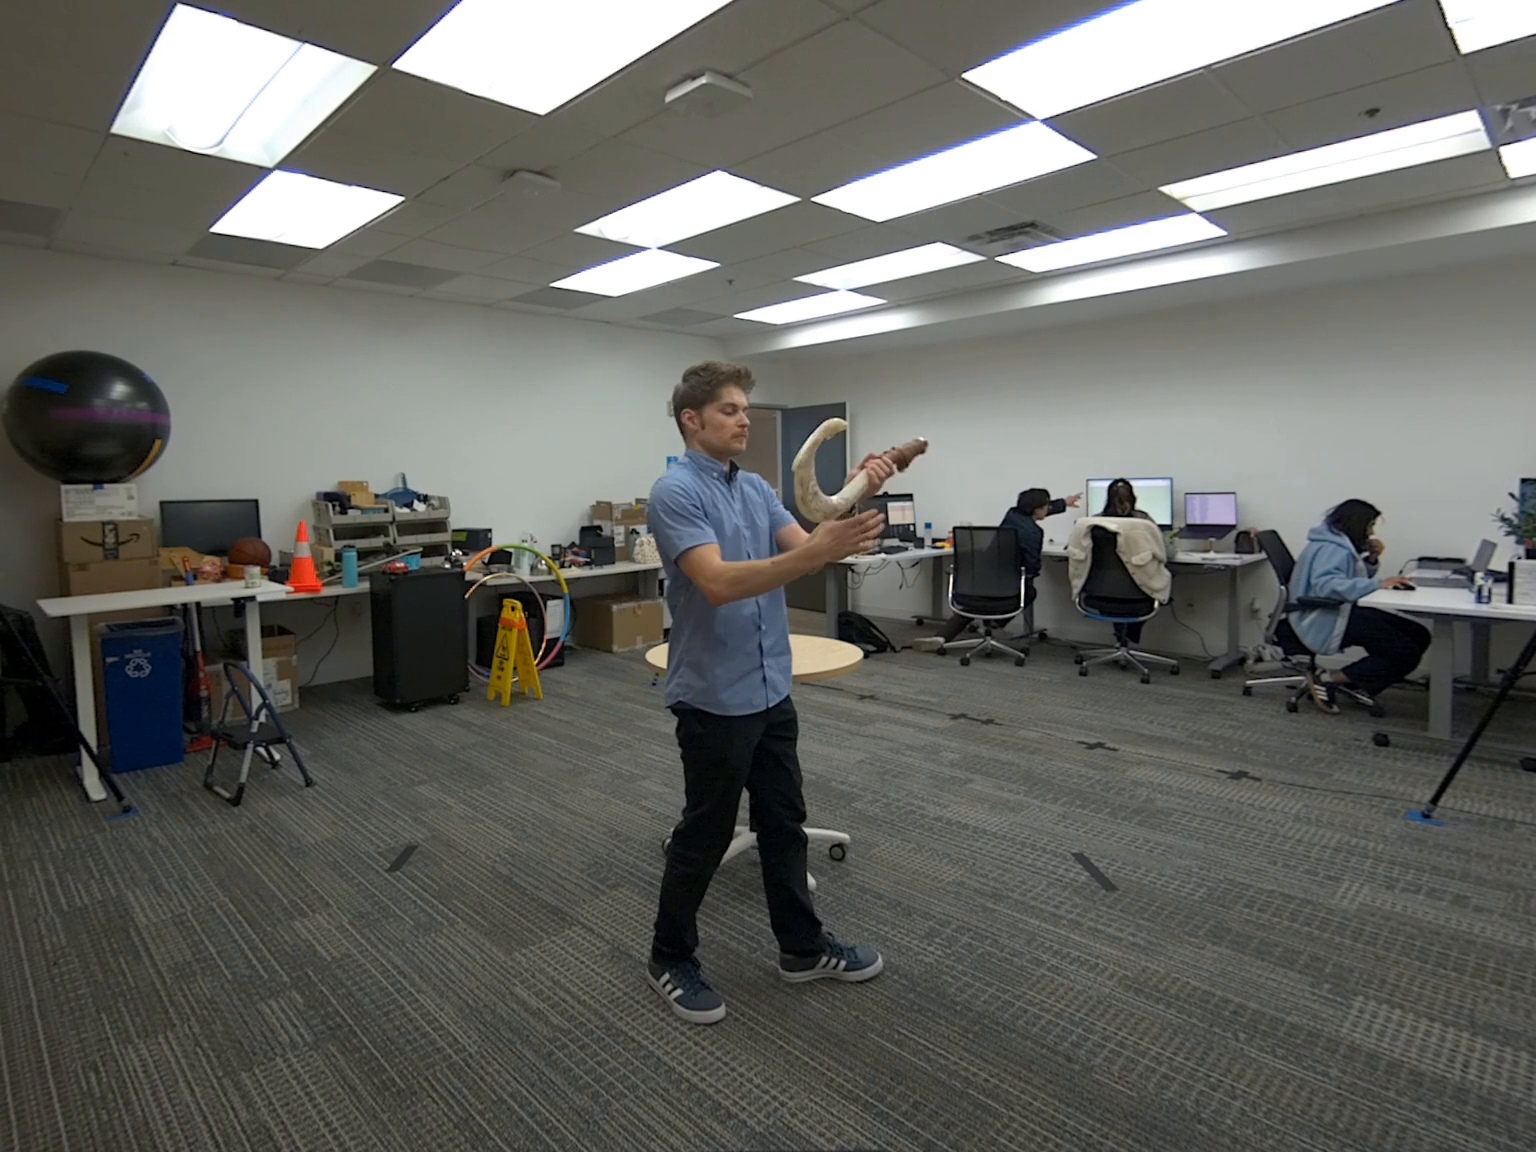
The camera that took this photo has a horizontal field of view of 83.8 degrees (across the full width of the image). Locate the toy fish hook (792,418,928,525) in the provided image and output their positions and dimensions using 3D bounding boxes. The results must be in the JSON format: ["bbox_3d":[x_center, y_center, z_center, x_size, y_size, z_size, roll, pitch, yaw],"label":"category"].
[{"bbox_3d":[0.237,-0.286,2.009,0.050,0.219,0.501,14,33,40],"label":"toy fish hook"}]
